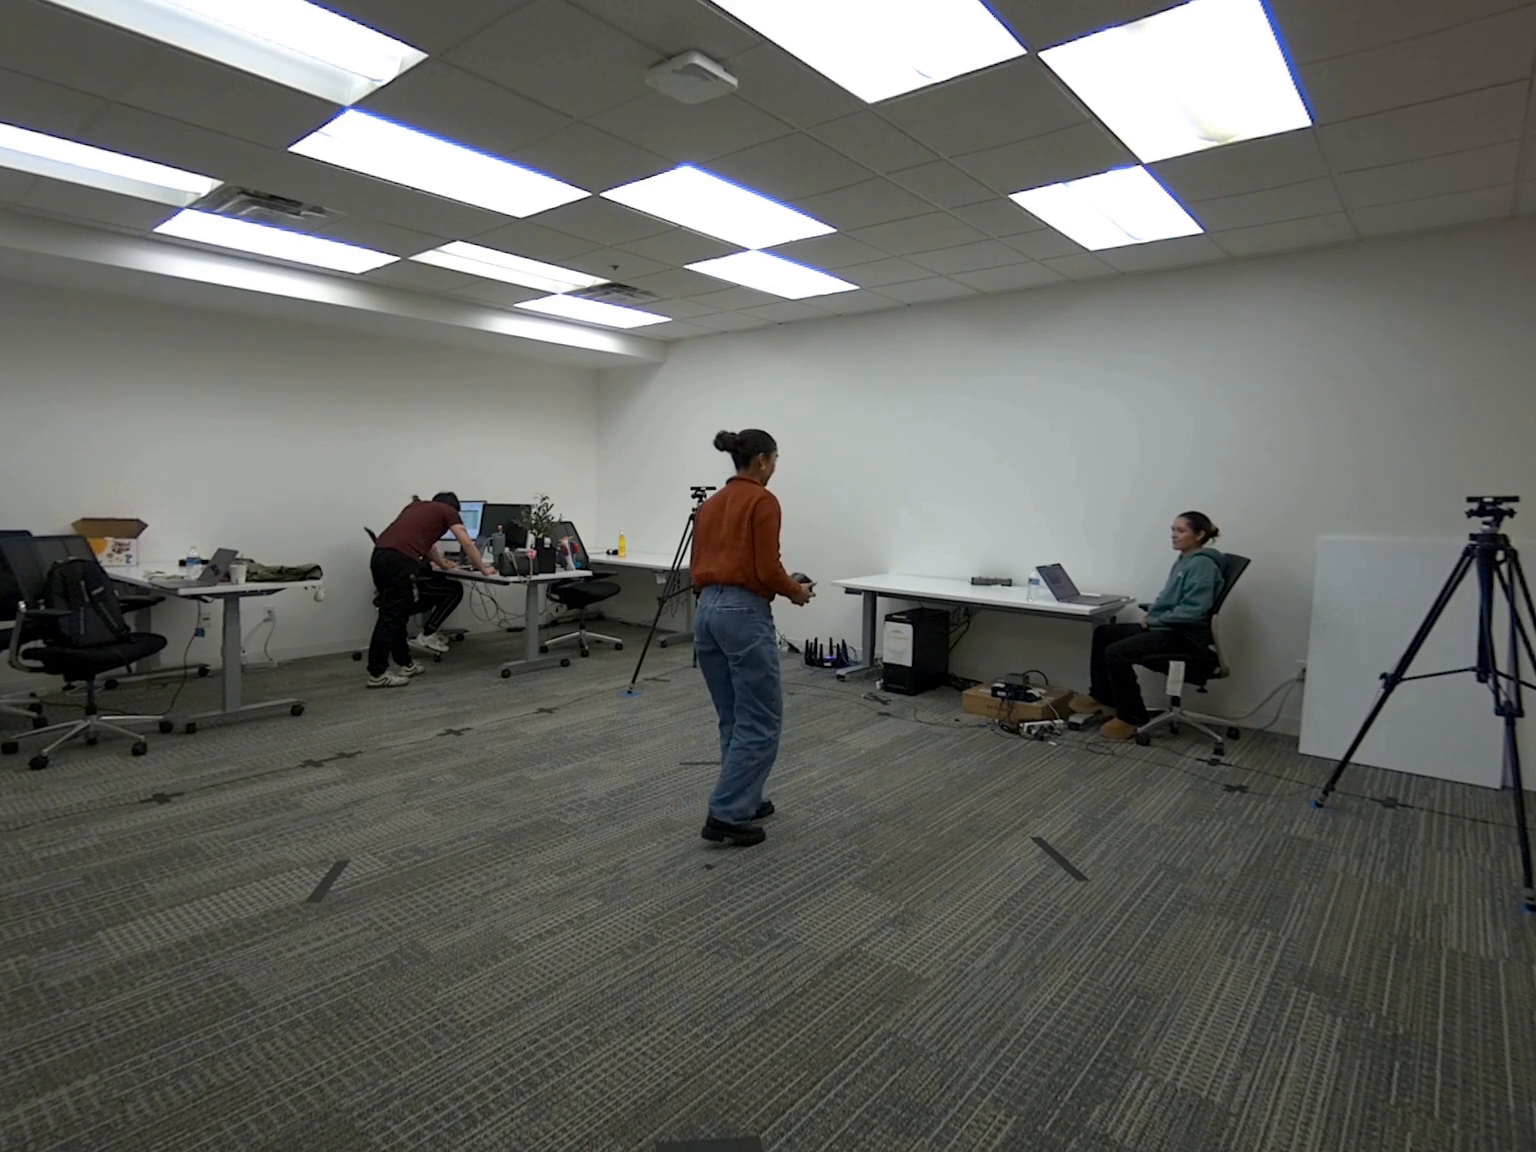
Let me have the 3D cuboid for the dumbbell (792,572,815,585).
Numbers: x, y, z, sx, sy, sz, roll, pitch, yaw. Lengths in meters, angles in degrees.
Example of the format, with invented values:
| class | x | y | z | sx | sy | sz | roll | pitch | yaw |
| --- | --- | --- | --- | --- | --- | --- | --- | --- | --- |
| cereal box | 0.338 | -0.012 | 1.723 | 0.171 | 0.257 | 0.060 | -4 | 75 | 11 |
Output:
| class | x | y | z | sx | sy | sz | roll | pitch | yaw |
| --- | --- | --- | --- | --- | --- | --- | --- | --- | --- |
| dumbbell | 0.043 | 0.061 | 3.596 | 0.118 | 0.109 | 0.303 | 41 | -22 | -33 |
